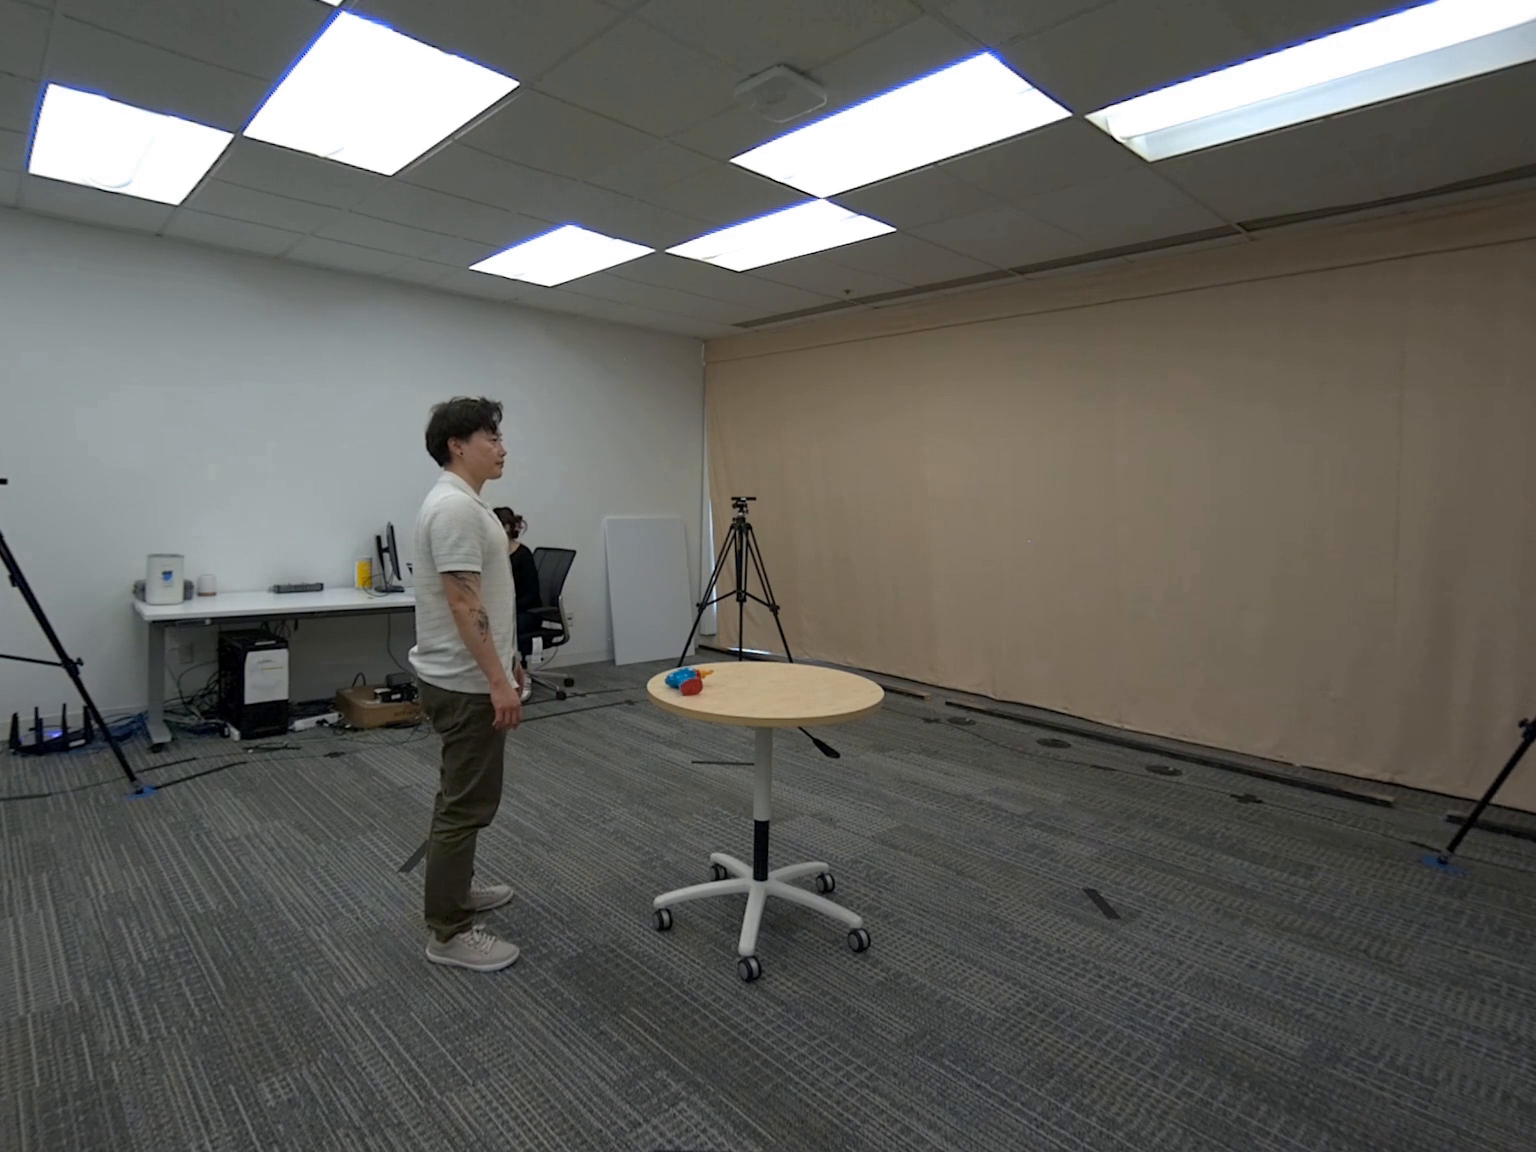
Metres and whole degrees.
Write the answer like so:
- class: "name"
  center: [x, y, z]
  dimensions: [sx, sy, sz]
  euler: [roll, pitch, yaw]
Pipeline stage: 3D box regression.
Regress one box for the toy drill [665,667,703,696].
- class: "toy drill"
  center: [-0.248, 0.331, 2.671]
  dimensions: [0.168, 0.061, 0.149]
  euler: [-6, 11, -18]
